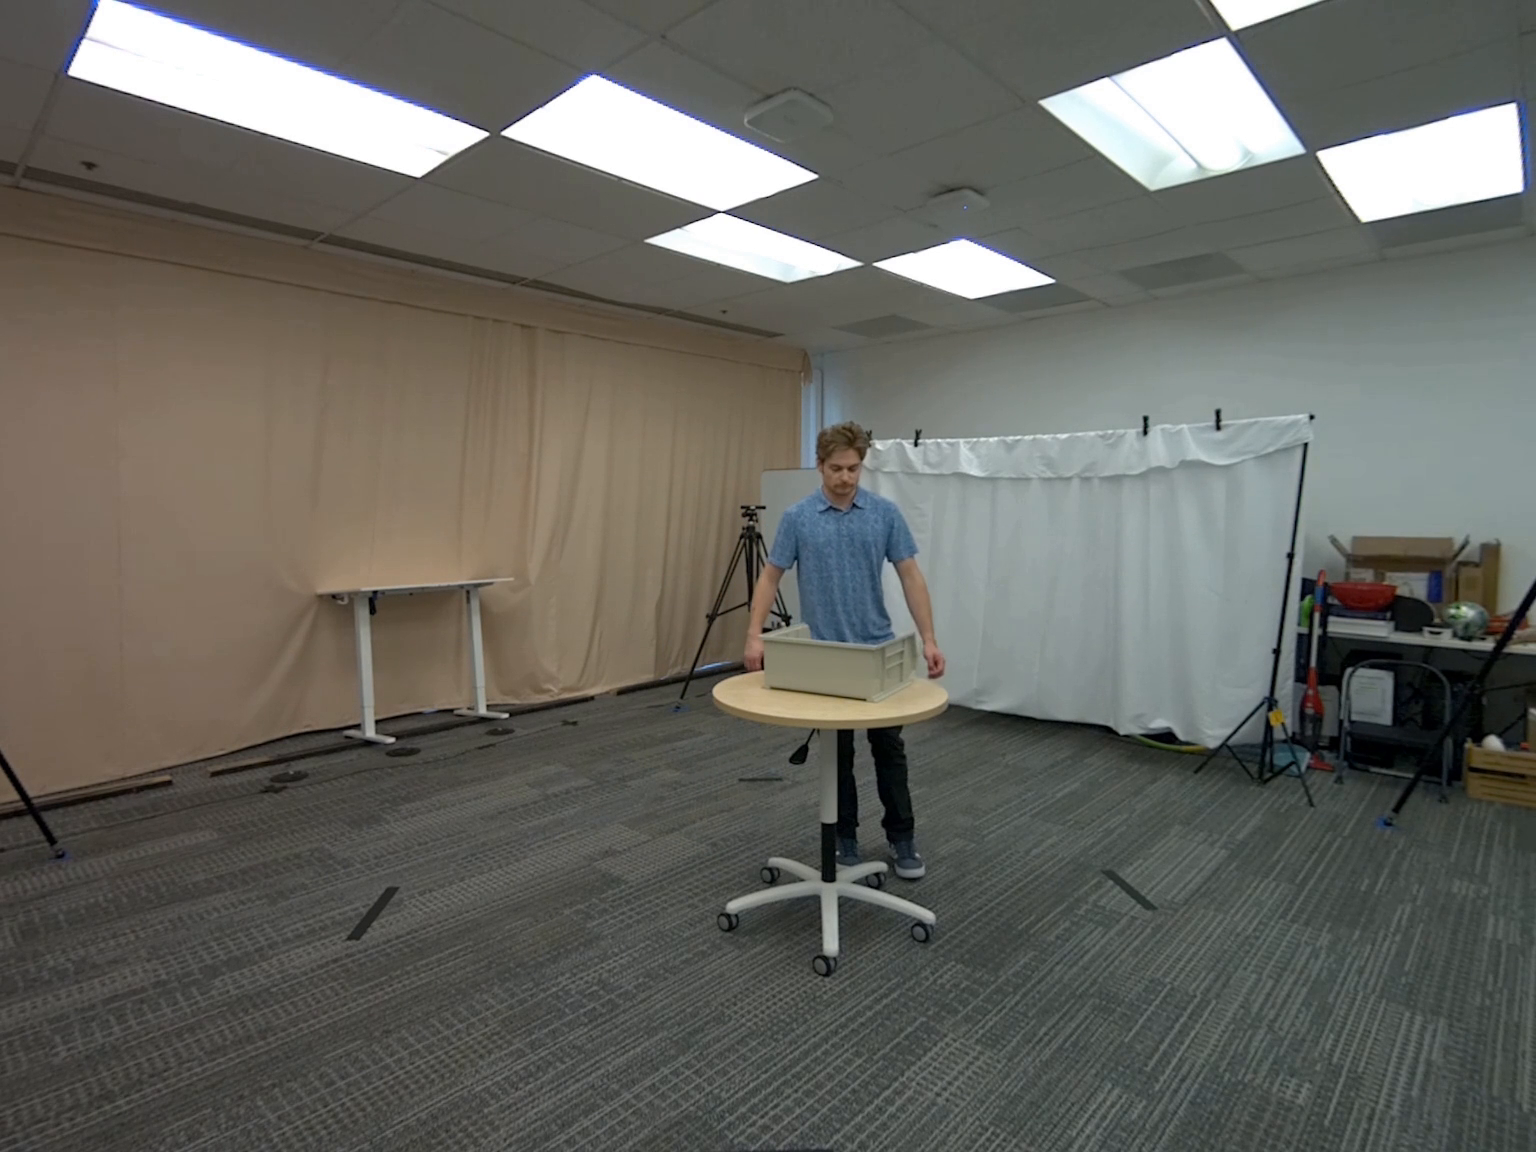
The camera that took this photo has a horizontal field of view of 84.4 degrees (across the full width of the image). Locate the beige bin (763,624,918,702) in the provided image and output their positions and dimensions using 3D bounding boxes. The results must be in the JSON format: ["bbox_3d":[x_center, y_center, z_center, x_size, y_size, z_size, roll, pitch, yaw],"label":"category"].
[{"bbox_3d":[0.245,0.284,2.849,0.435,0.188,0.367,2,7,31],"label":"beige bin"}]
